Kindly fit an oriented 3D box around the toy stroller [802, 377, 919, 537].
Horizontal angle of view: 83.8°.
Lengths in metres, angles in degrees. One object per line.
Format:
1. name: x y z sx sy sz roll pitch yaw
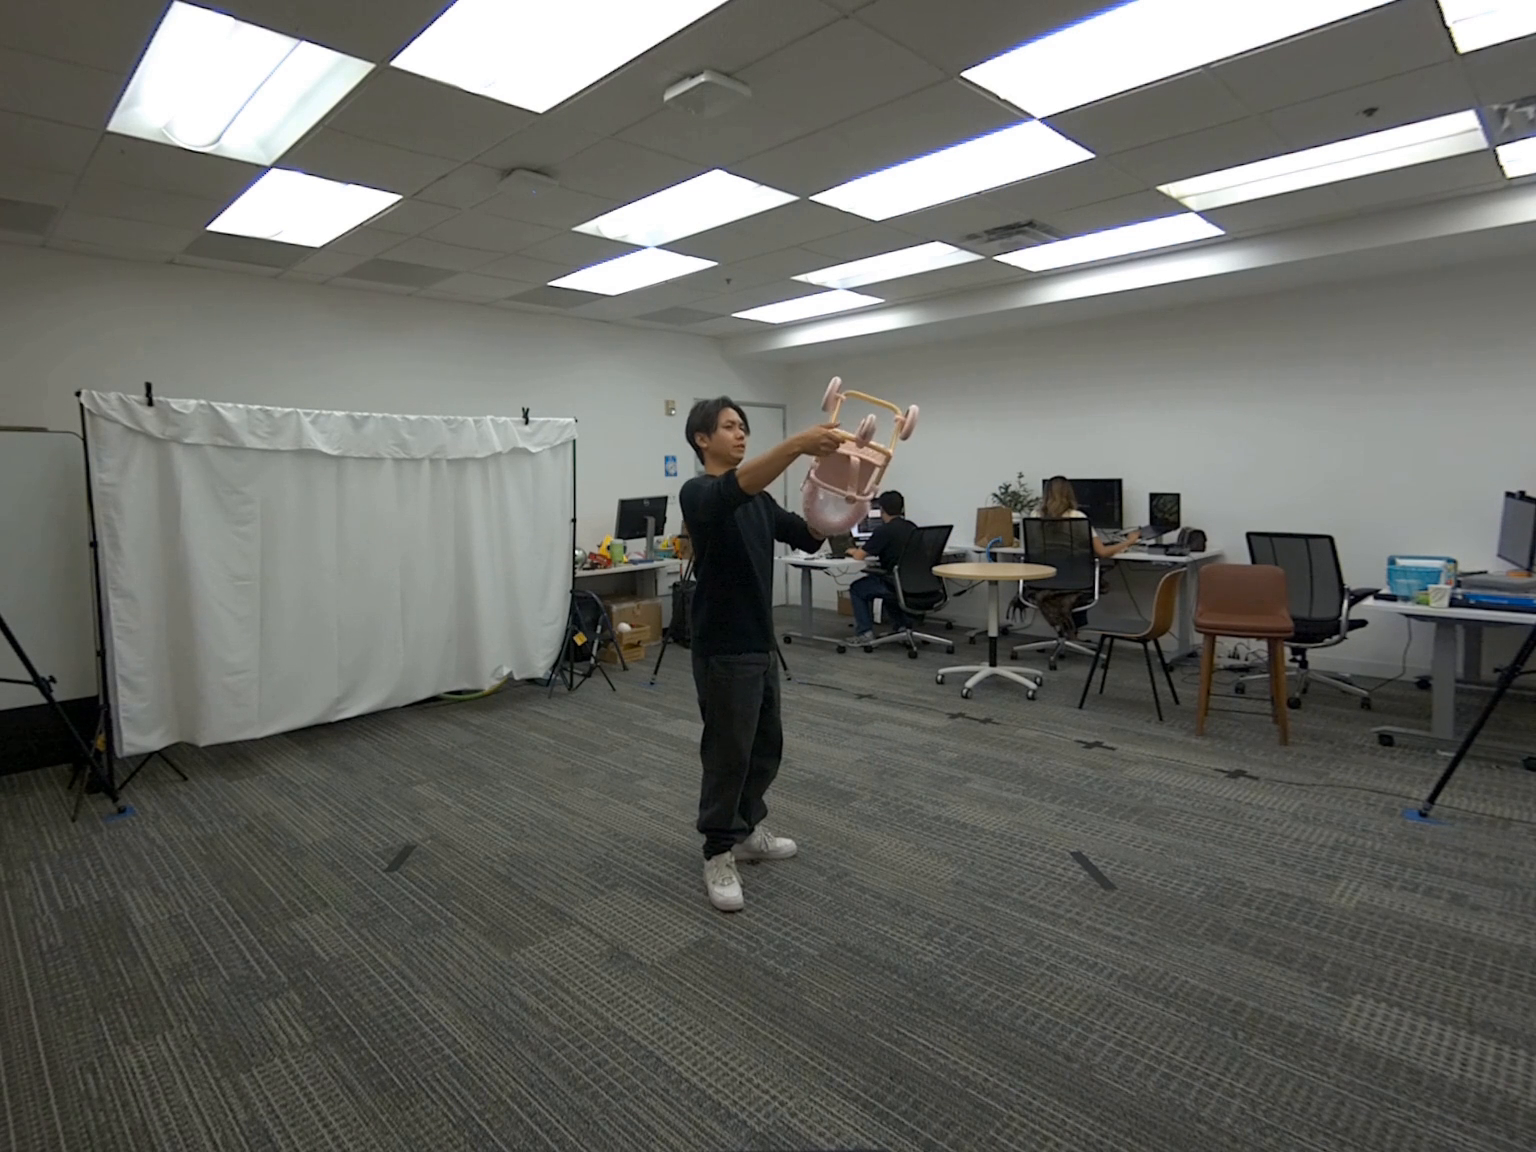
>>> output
1. toy stroller: 0.248 -0.335 2.586 0.281 0.526 0.347 19 43 -3
